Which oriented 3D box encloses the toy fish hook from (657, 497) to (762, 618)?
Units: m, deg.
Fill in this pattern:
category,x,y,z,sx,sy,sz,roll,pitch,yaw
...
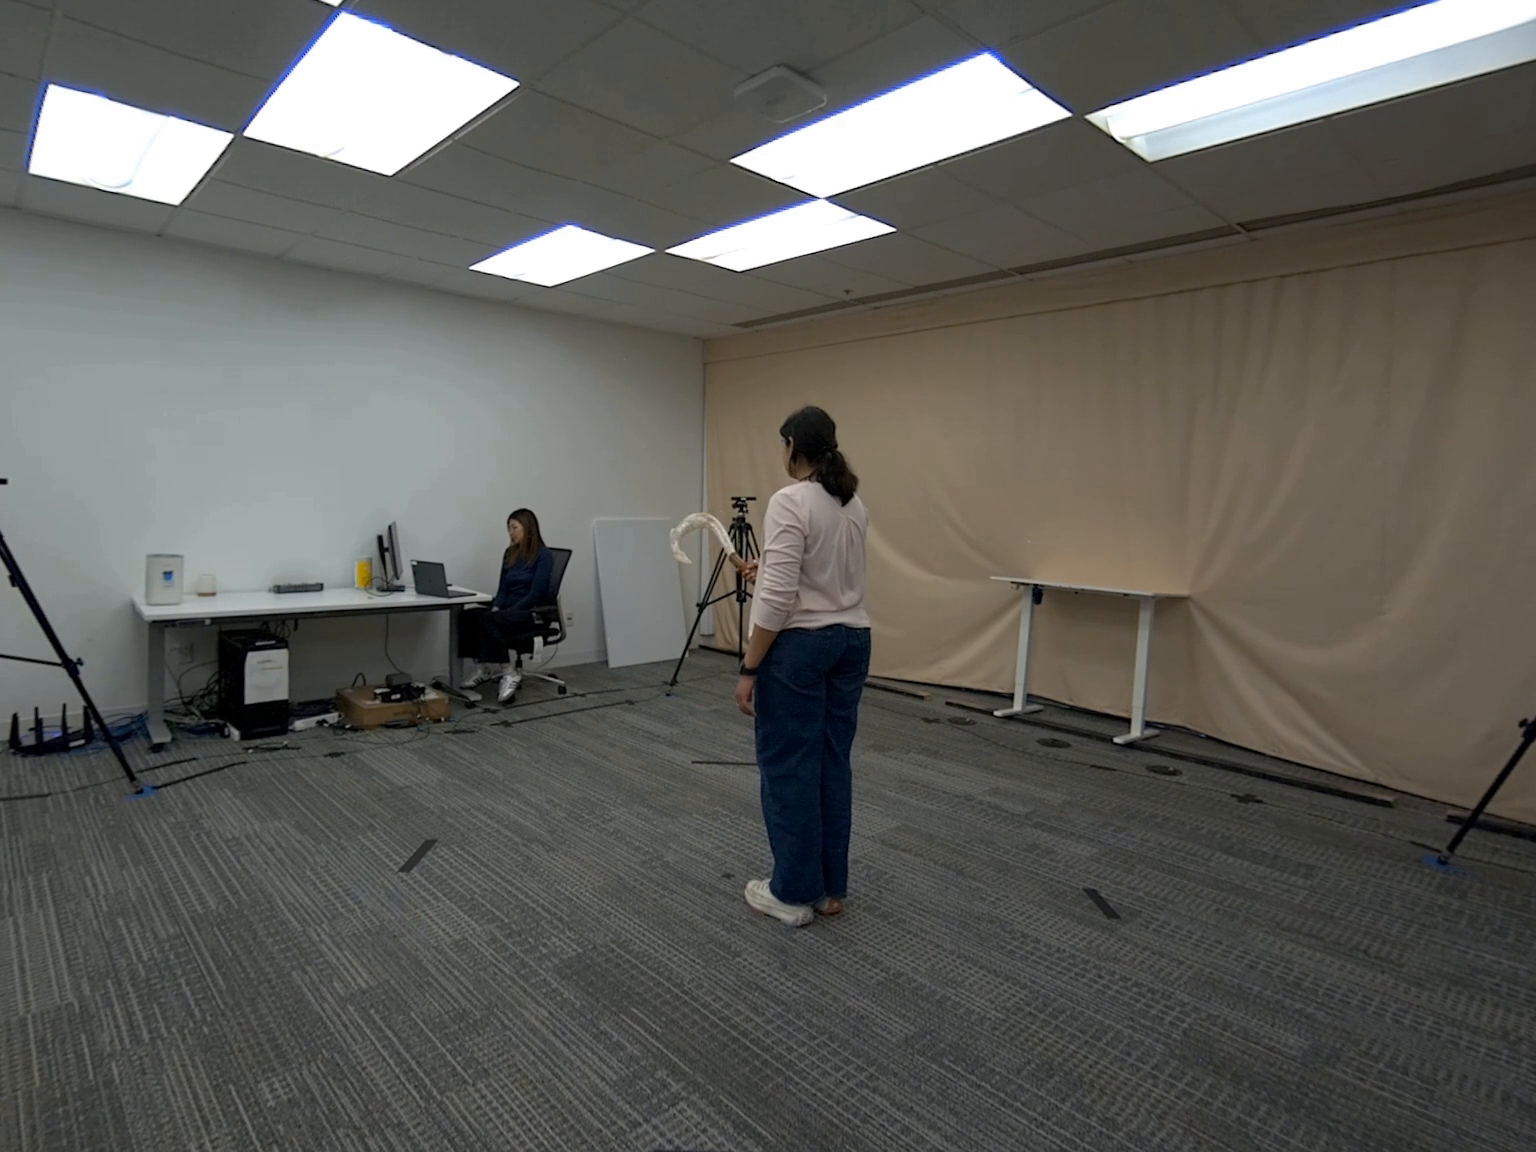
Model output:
category,x,y,z,sx,sy,sz,roll,pitch,yaw
toy fish hook,-0.194,-0.083,3.182,0.523,0.224,0.047,42,-6,38
